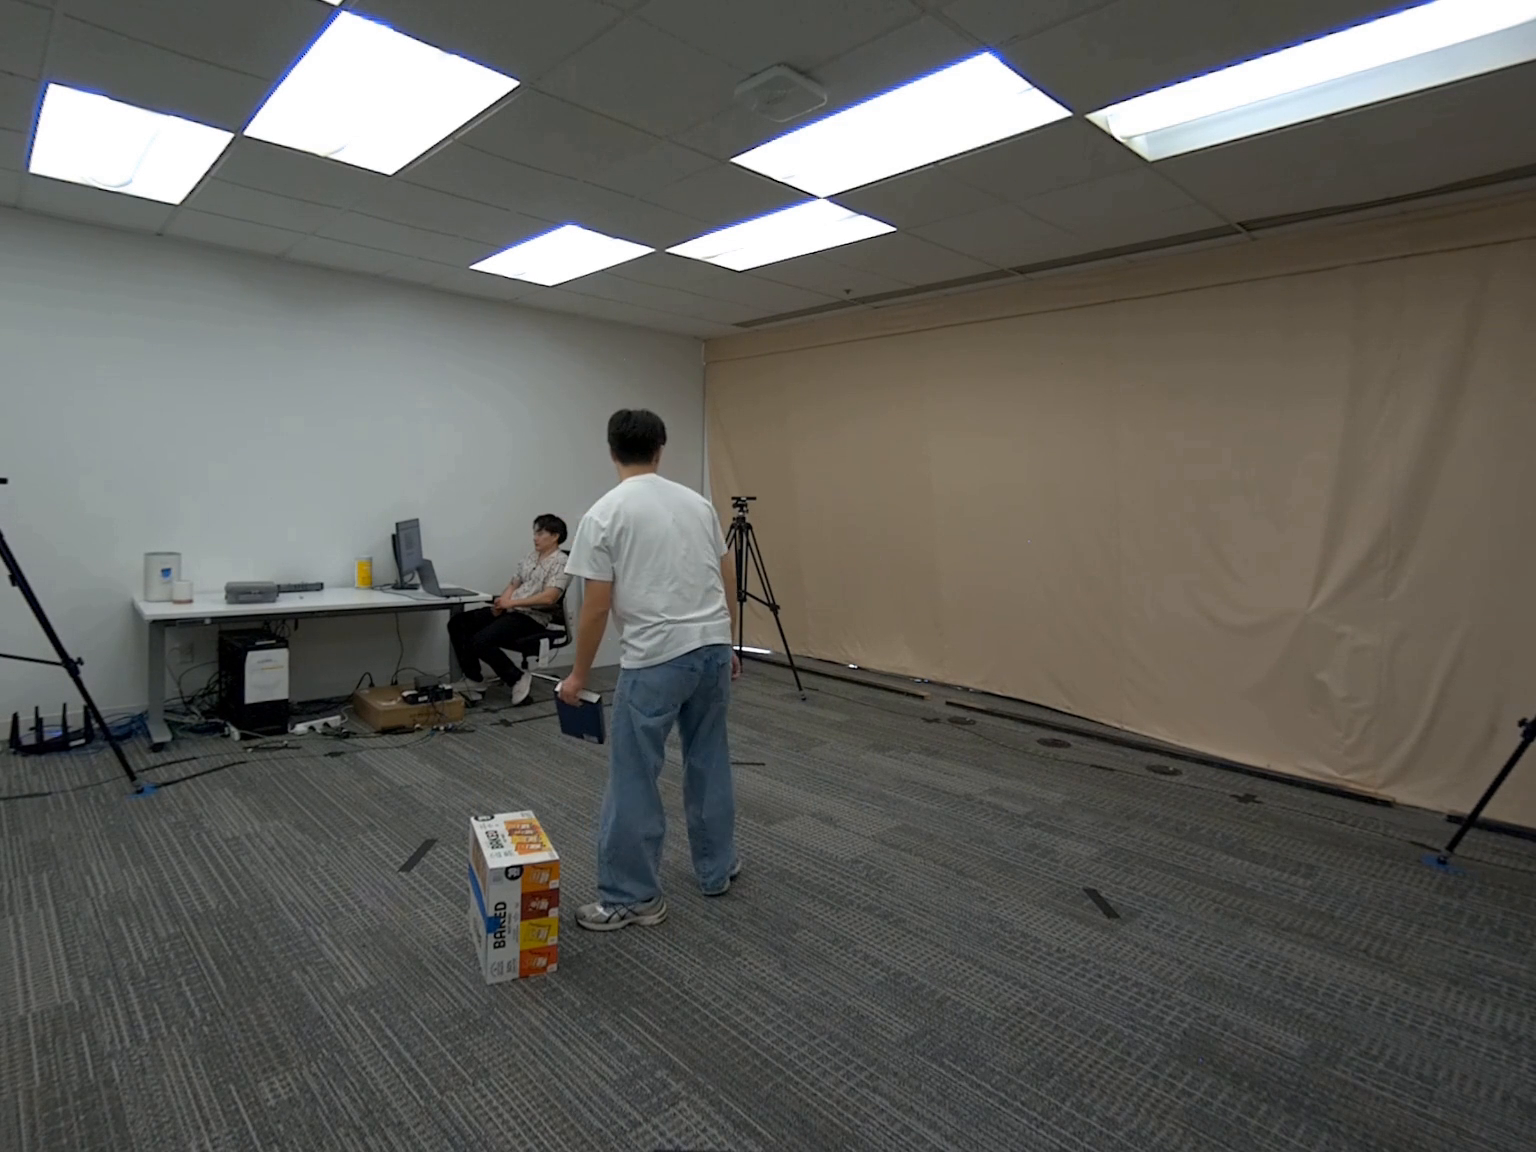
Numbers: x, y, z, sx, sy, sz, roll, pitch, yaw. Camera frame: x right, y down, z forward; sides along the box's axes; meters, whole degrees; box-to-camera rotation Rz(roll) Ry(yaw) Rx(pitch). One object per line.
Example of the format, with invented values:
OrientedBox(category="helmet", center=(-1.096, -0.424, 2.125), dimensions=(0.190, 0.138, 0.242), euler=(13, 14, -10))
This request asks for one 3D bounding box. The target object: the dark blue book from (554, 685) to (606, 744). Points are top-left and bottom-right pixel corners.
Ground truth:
OrientedBox(category="dark blue book", center=(-0.646, 0.475, 2.926), dimensions=(0.165, 0.240, 0.045), euler=(13, 44, 11))
